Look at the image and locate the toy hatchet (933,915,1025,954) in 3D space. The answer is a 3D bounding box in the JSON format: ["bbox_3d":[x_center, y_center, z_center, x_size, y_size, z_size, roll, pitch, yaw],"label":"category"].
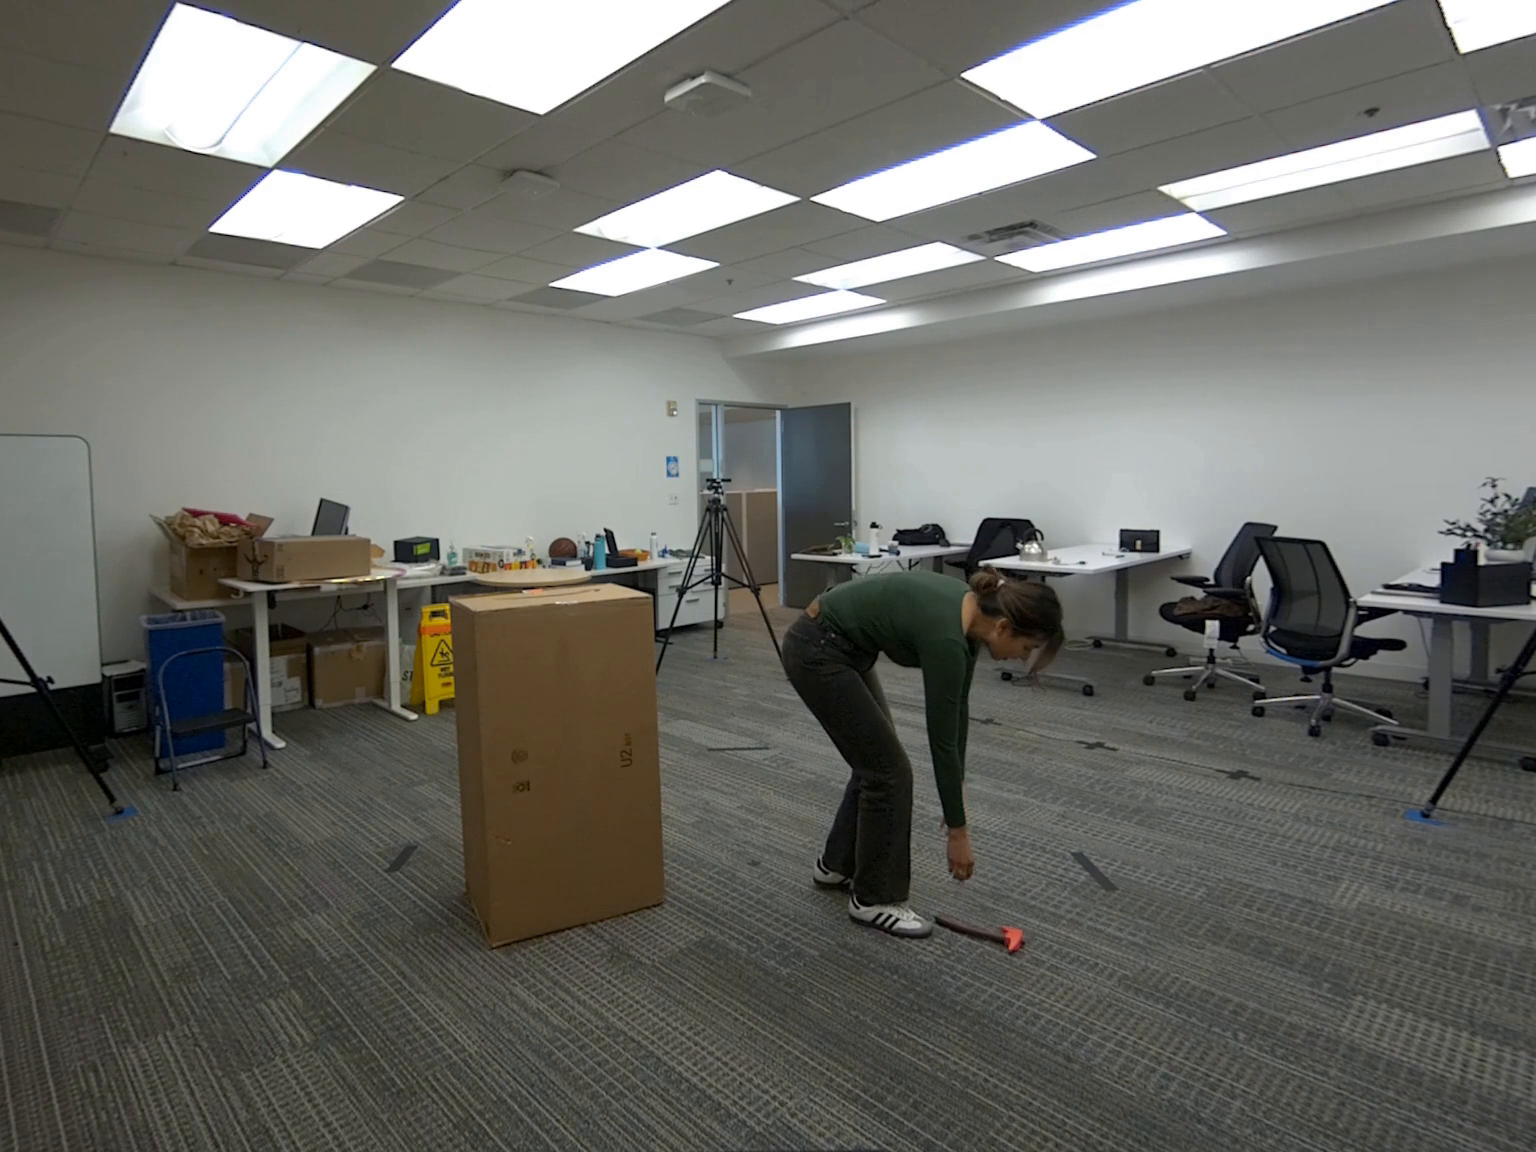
[{"bbox_3d":[0.657,1.068,2.614,0.127,0.029,0.278,-7,7,-43],"label":"toy hatchet"}]
